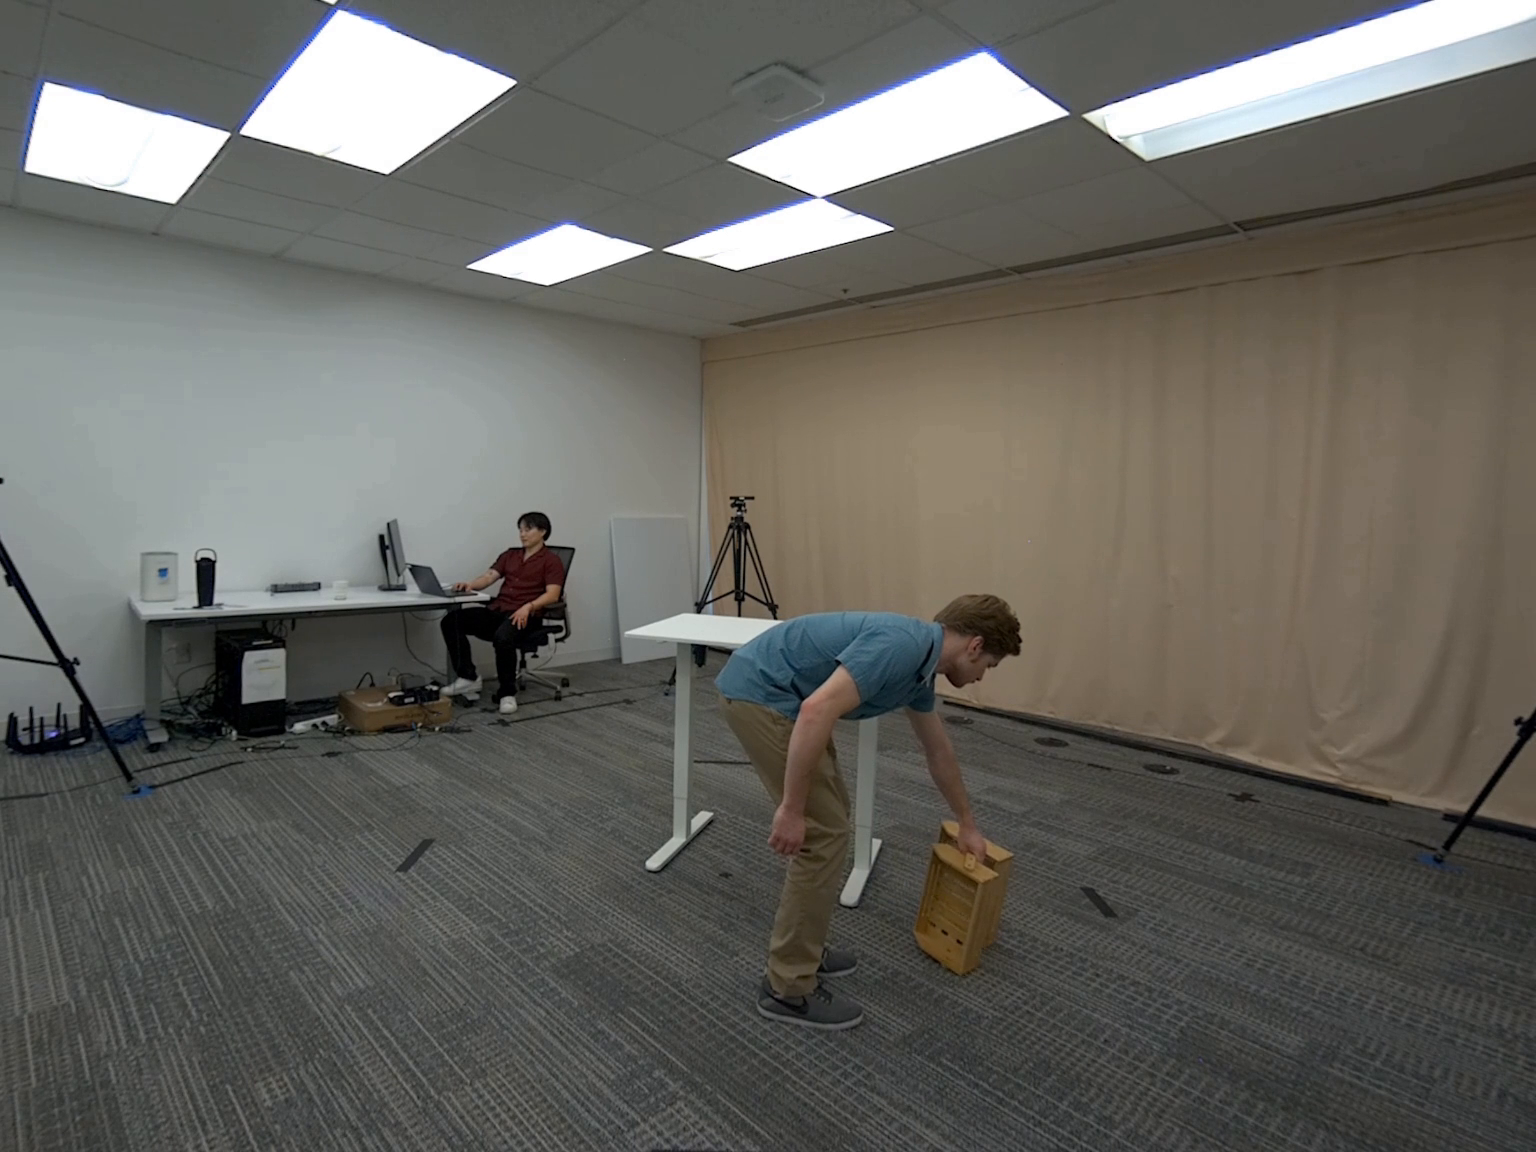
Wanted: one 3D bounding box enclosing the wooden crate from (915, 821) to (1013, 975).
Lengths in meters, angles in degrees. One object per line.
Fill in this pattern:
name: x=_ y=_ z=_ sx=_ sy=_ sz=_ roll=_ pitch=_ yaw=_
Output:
wooden crate: x=0.579 y=0.994 z=2.639 sx=0.266 sy=0.323 sz=0.311 roll=2 pitch=11 yaw=-44
